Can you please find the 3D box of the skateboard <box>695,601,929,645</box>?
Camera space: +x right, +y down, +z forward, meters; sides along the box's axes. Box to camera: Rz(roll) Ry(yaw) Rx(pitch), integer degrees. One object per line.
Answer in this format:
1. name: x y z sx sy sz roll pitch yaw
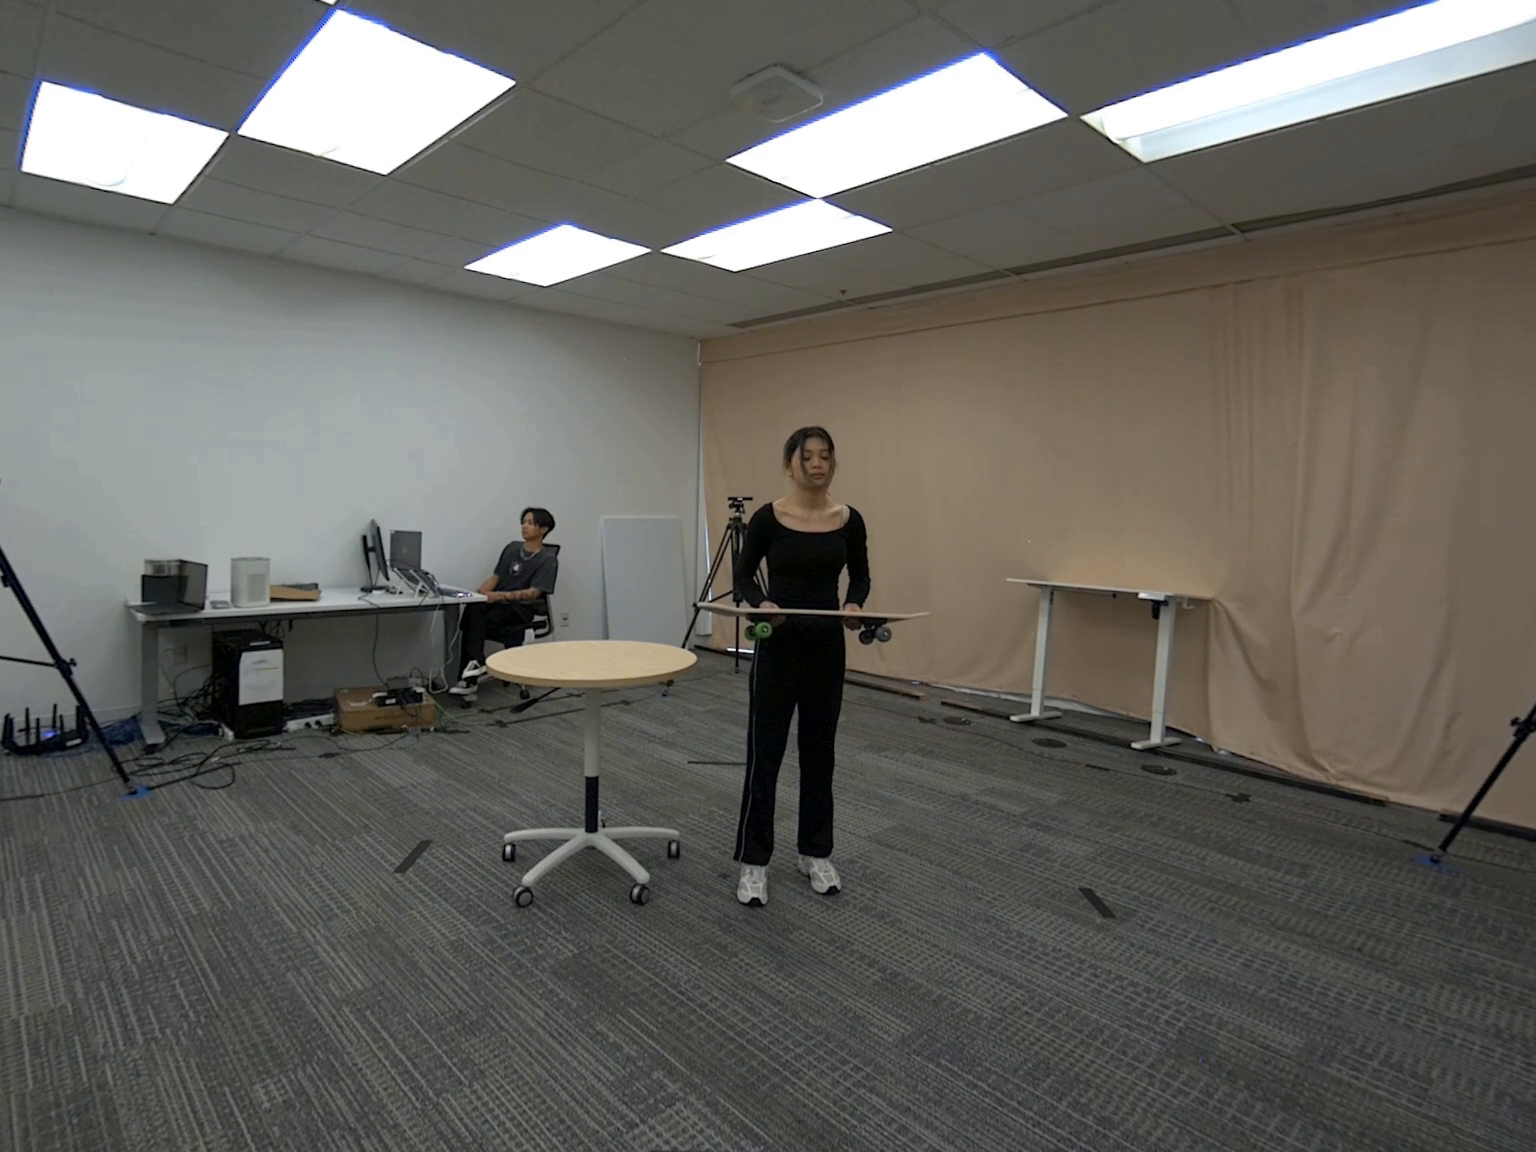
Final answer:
1. skateboard: 0.149 0.159 2.732 0.777 0.111 0.194 3 -8 -13
